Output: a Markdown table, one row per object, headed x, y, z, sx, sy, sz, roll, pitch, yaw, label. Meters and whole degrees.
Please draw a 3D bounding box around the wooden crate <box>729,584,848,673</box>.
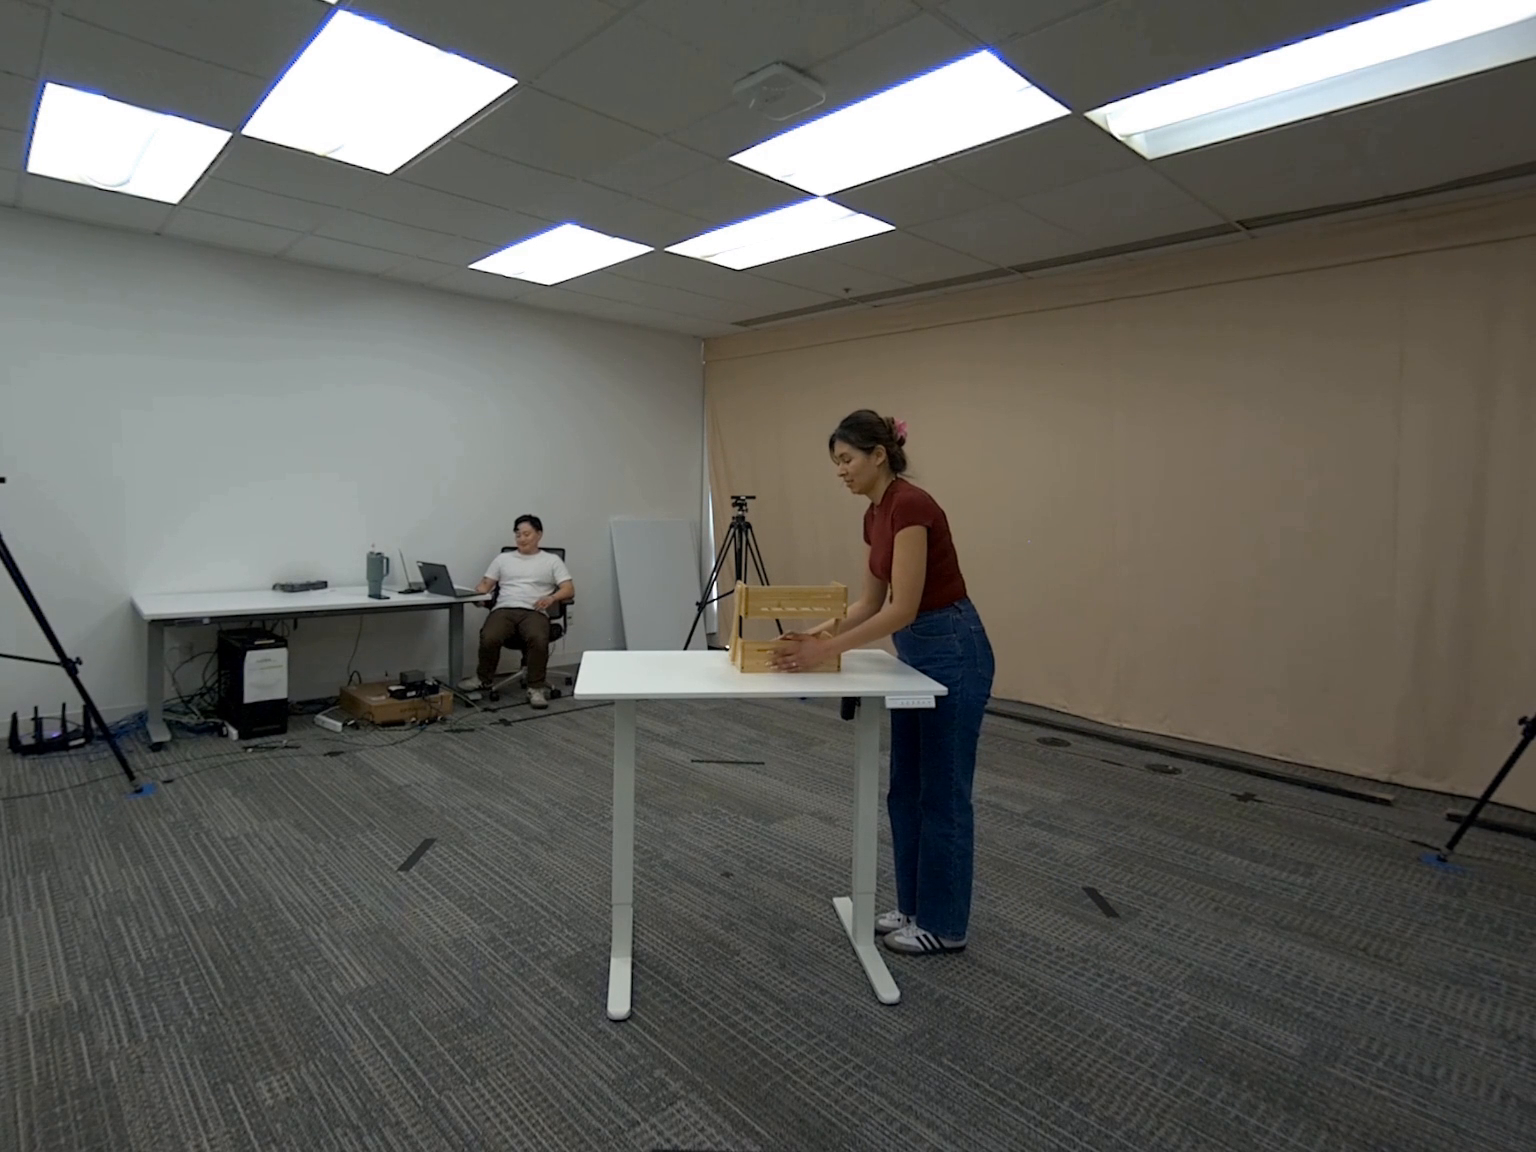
| x | y | z | sx | sy | sz | roll | pitch | yaw | label |
| --- | --- | --- | --- | --- | --- | --- | --- | --- | --- |
| 0.051 | 0.141 | 2.573 | 0.322 | 0.272 | 0.305 | 0 | 5 | -11 | wooden crate |
